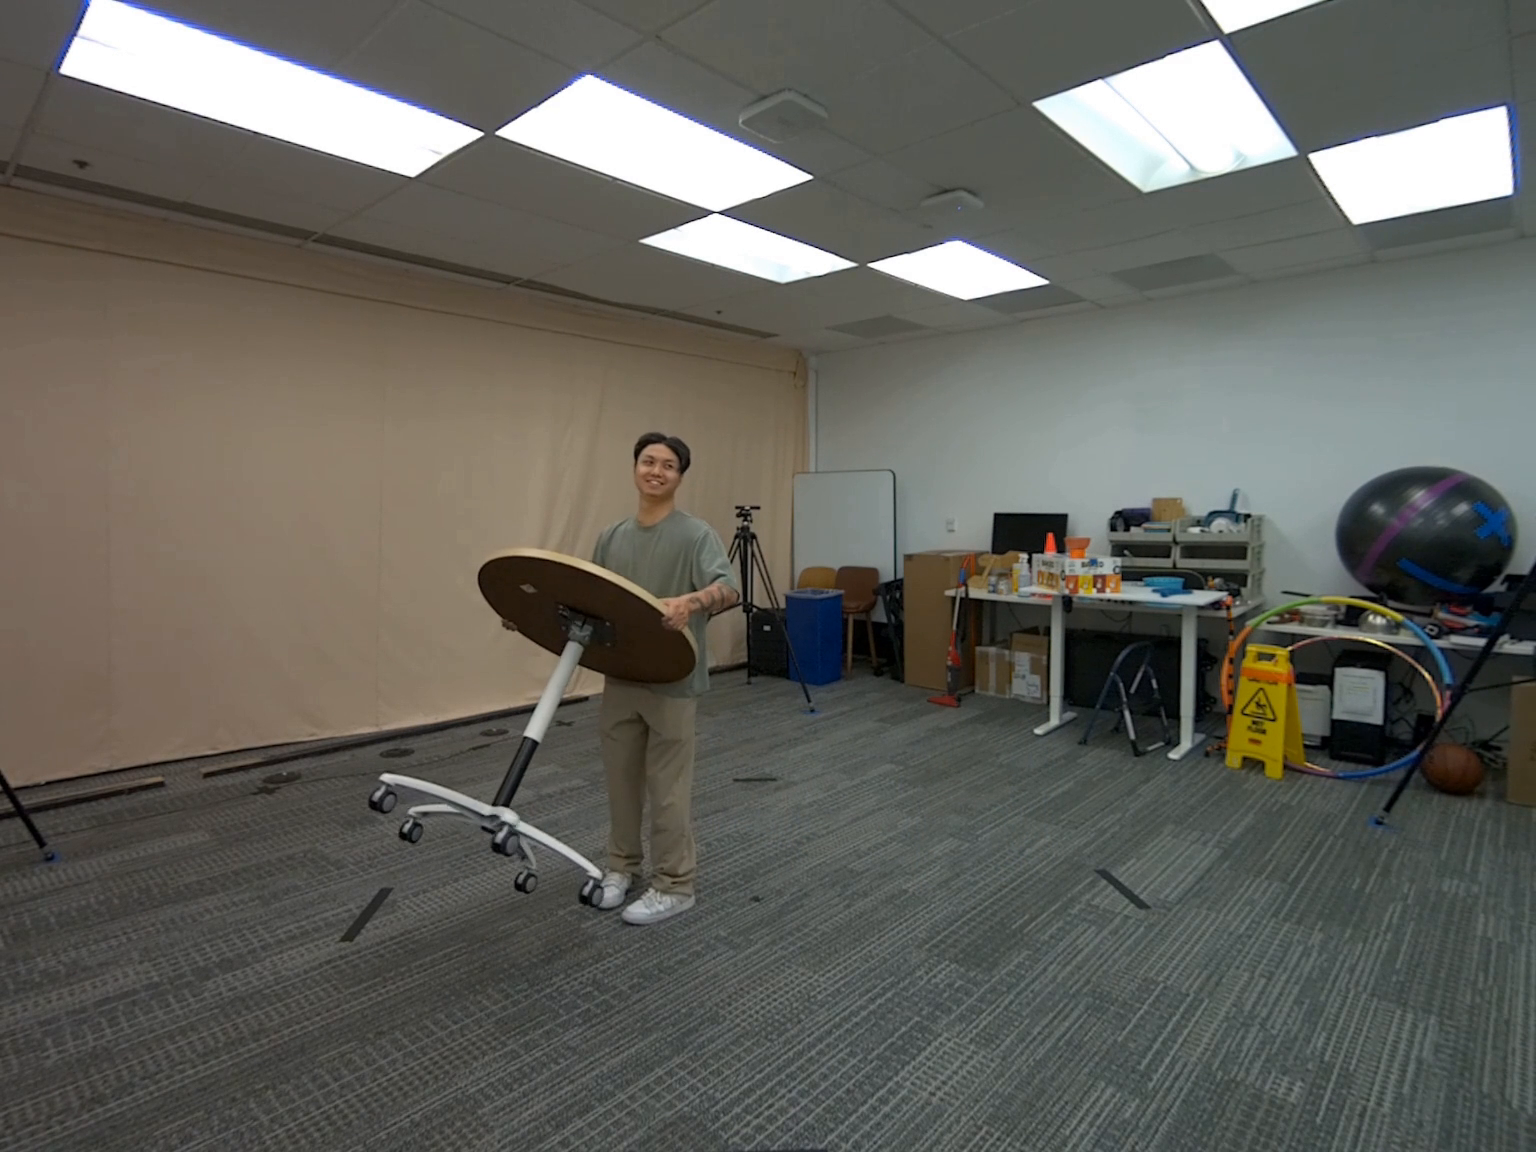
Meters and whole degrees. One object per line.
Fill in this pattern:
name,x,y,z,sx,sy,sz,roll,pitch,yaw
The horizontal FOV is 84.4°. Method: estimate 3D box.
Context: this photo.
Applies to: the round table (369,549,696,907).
round table,-0.709,0.469,2.567,0.794,0.790,0.773,17,-30,8
